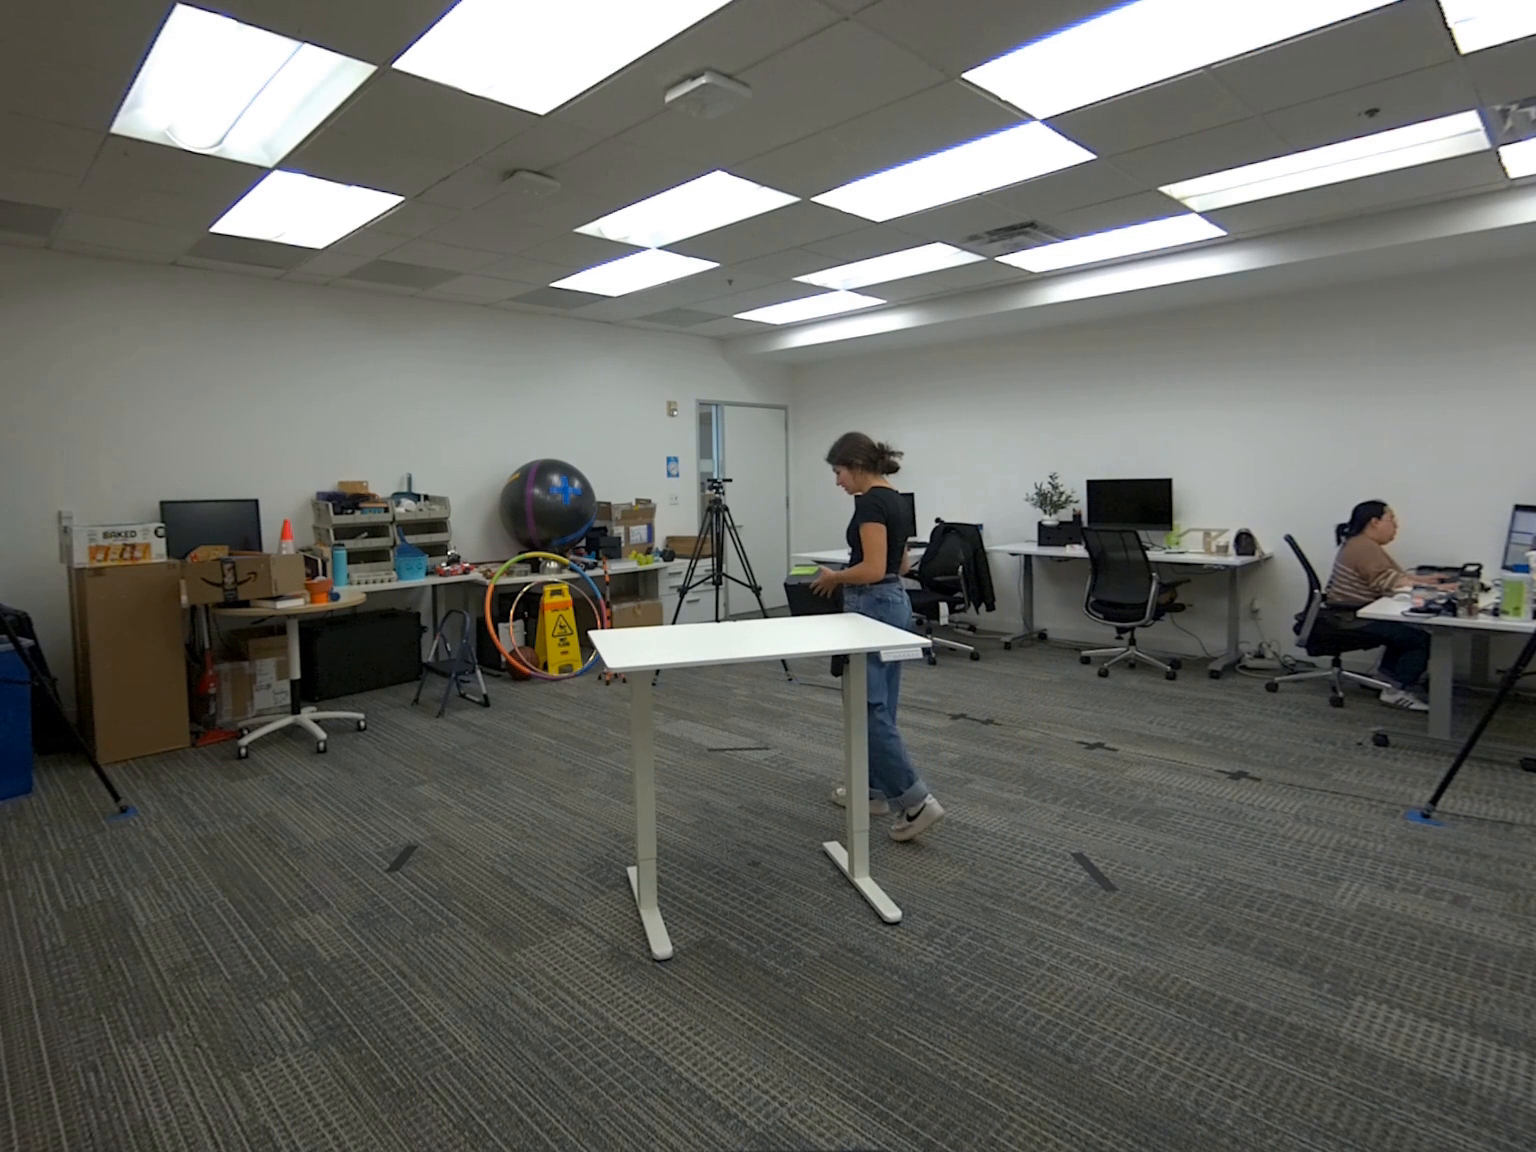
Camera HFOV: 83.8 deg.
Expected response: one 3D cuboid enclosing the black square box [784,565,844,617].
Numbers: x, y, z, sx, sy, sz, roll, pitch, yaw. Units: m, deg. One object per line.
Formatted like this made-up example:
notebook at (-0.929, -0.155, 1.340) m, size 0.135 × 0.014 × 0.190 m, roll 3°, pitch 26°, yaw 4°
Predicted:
black square box at (0.221, 0.075, 3.657) m, size 0.233 × 0.211 × 0.156 m, roll 0°, pitch 31°, yaw 27°
